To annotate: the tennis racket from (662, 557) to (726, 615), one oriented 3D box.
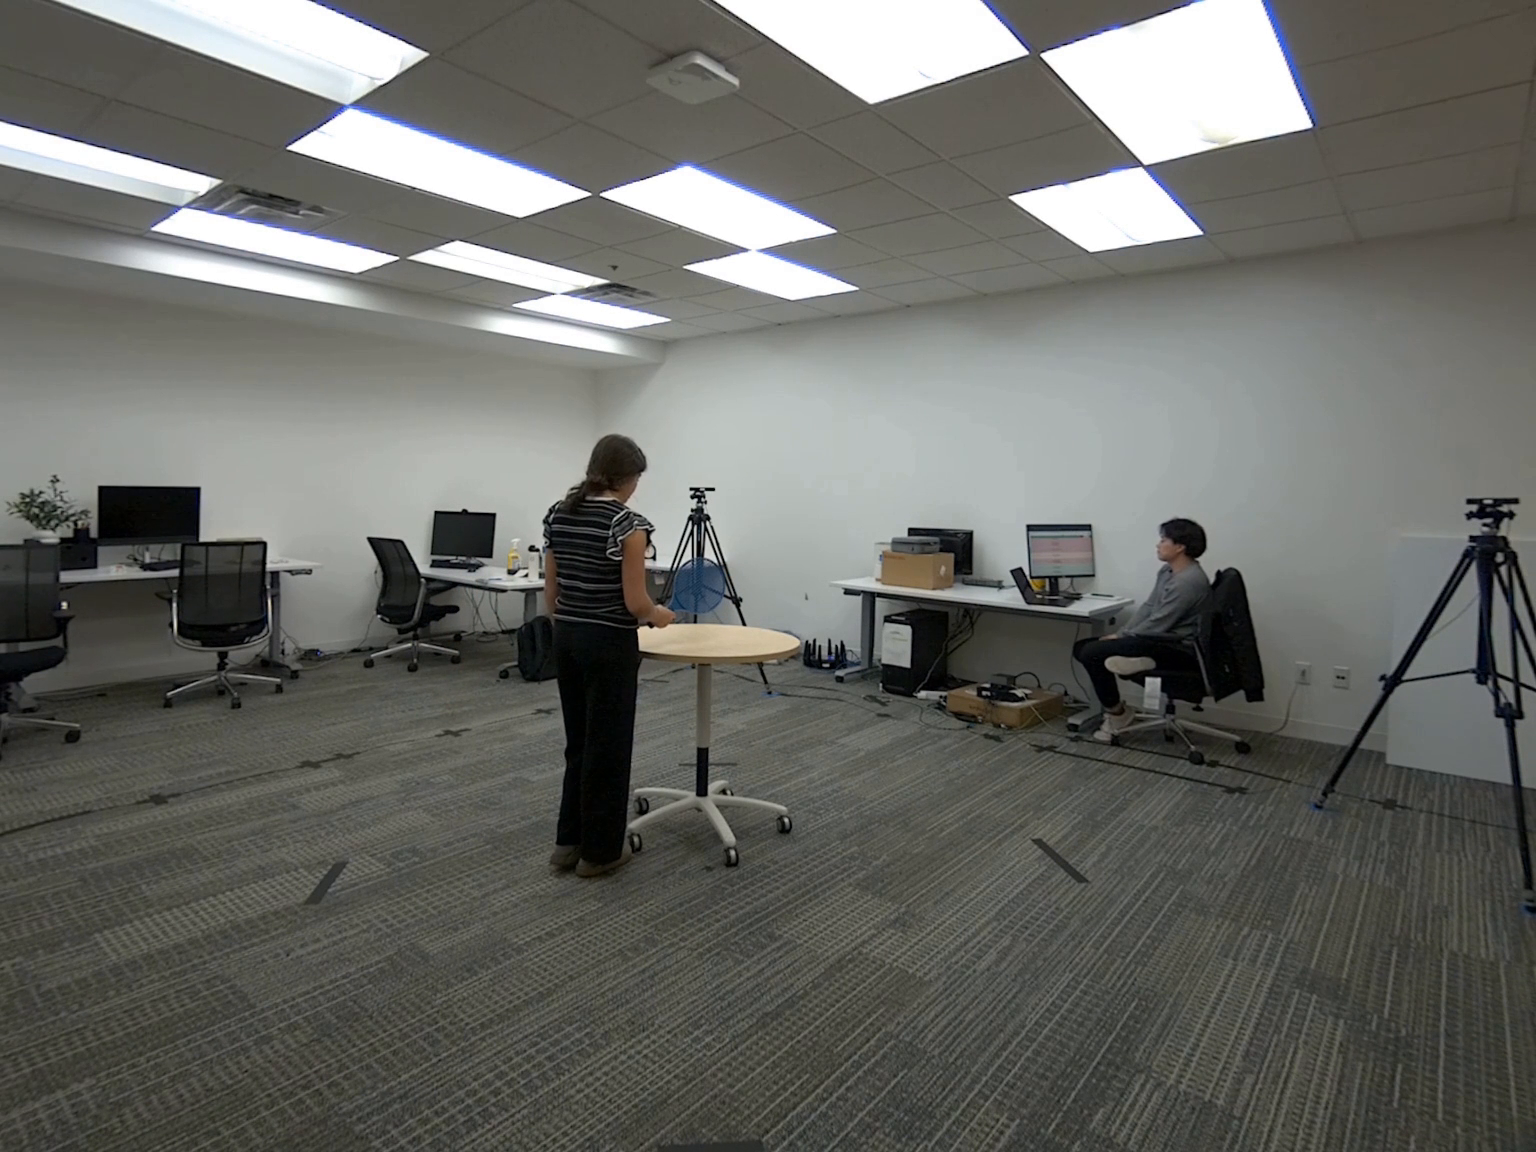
[{"bbox_3d":[-0.320,0.083,3.279,0.032,0.210,0.431,-22,17,47],"label":"tennis racket"}]
